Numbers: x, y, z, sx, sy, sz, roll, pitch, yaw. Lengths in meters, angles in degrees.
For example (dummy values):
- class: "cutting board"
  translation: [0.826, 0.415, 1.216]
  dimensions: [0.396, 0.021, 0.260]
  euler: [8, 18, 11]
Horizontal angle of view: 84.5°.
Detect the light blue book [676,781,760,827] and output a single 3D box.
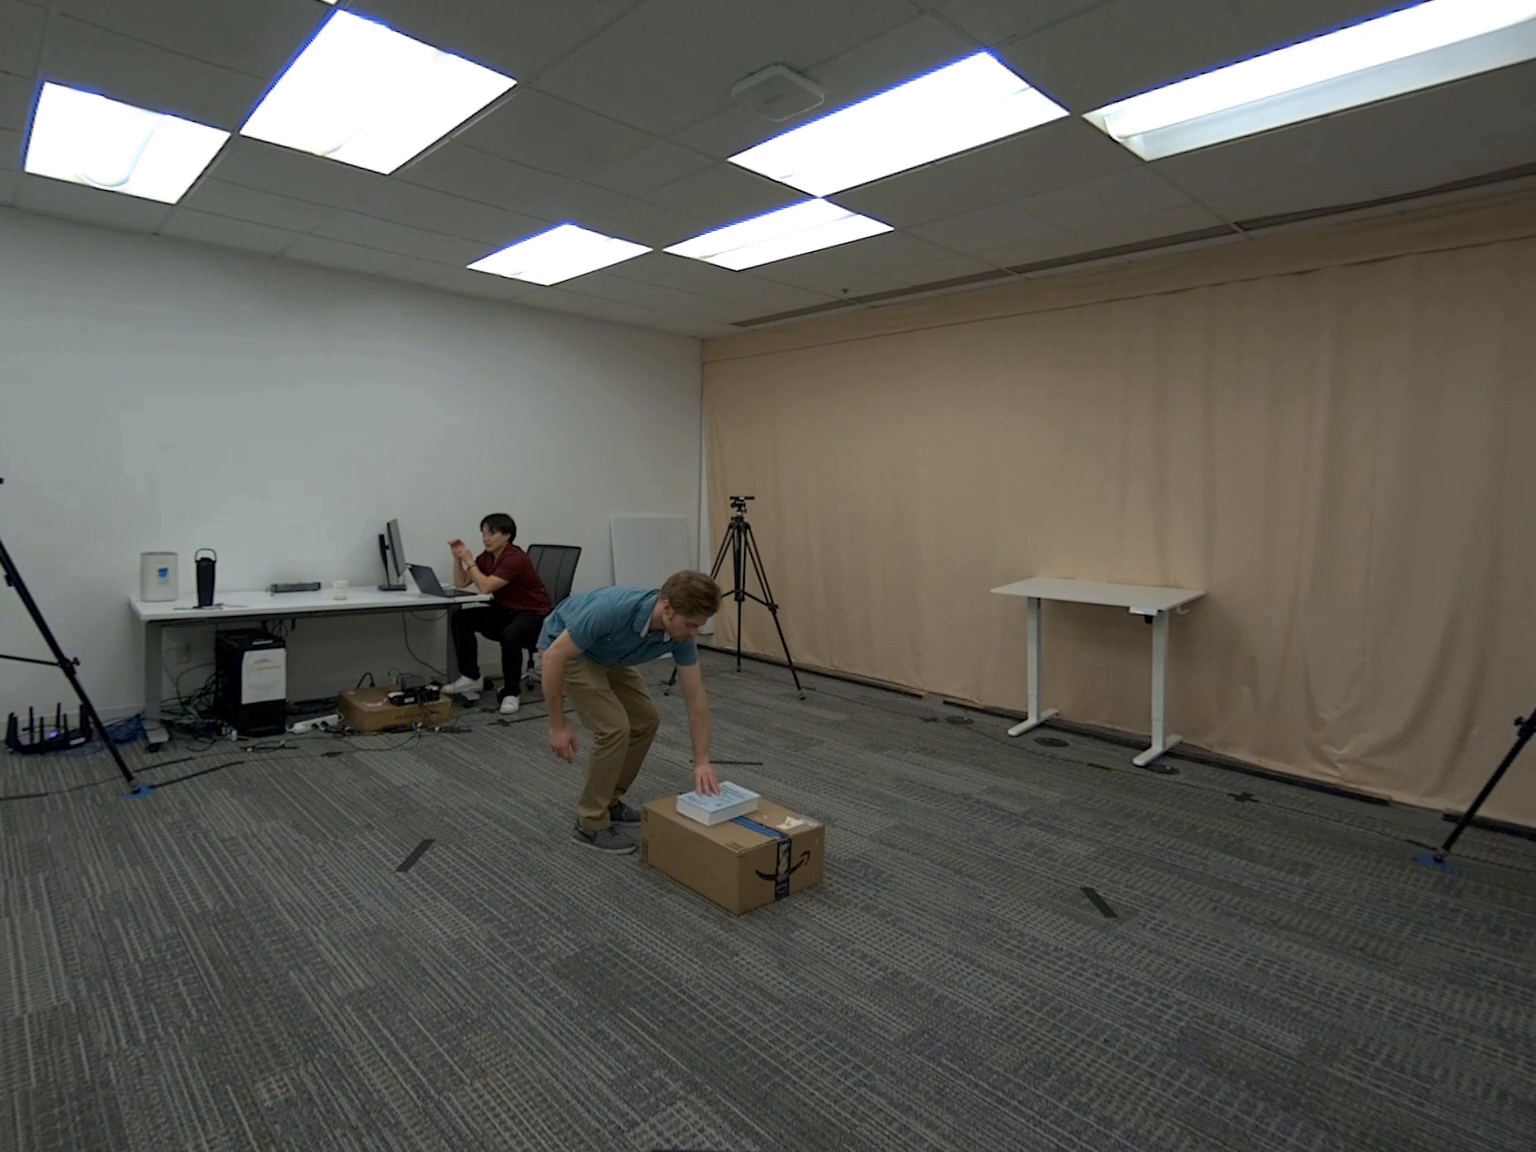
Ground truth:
- class: "light blue book"
  translation: [-0.191, 0.851, 3.159]
  dimensions: [0.196, 0.059, 0.255]
  euler: [11, 10, 42]
